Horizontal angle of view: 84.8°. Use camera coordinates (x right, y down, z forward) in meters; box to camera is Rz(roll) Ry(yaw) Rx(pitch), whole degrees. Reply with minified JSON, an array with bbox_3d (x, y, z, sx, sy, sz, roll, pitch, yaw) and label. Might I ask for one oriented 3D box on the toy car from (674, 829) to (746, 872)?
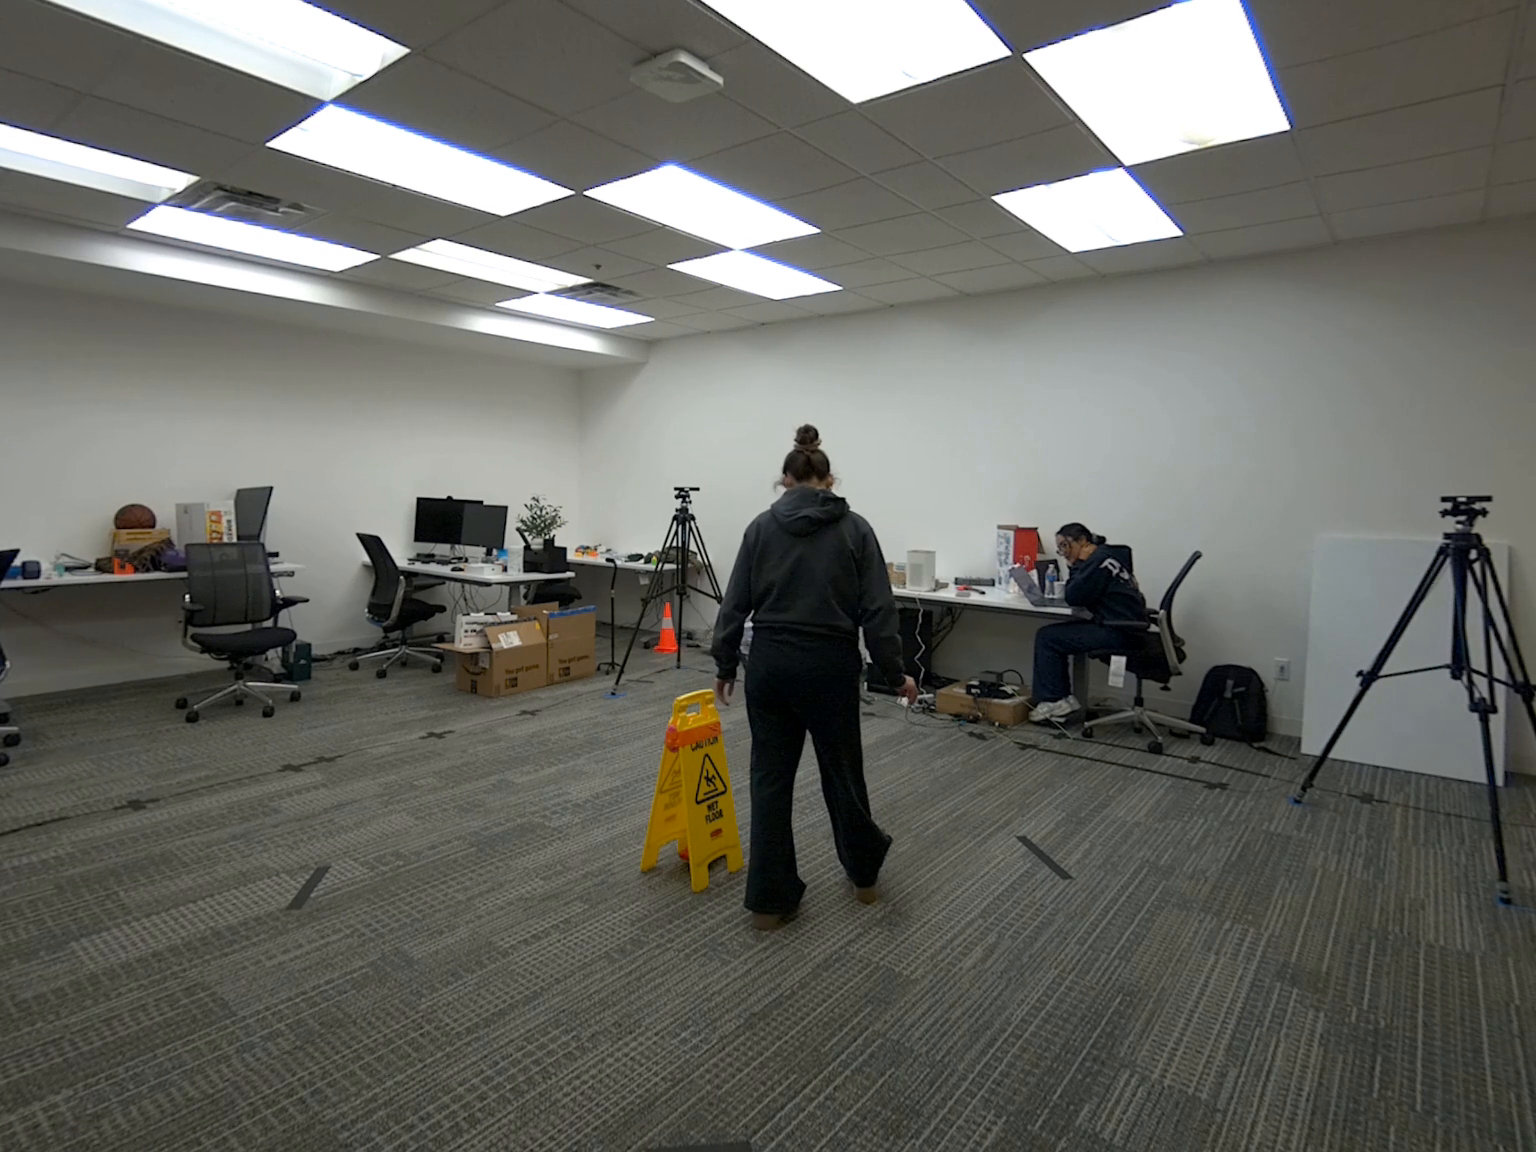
[{"bbox_3d":[-0.218,1.031,3.172,0.134,0.083,0.245,5,-3,35],"label":"toy car"}]
